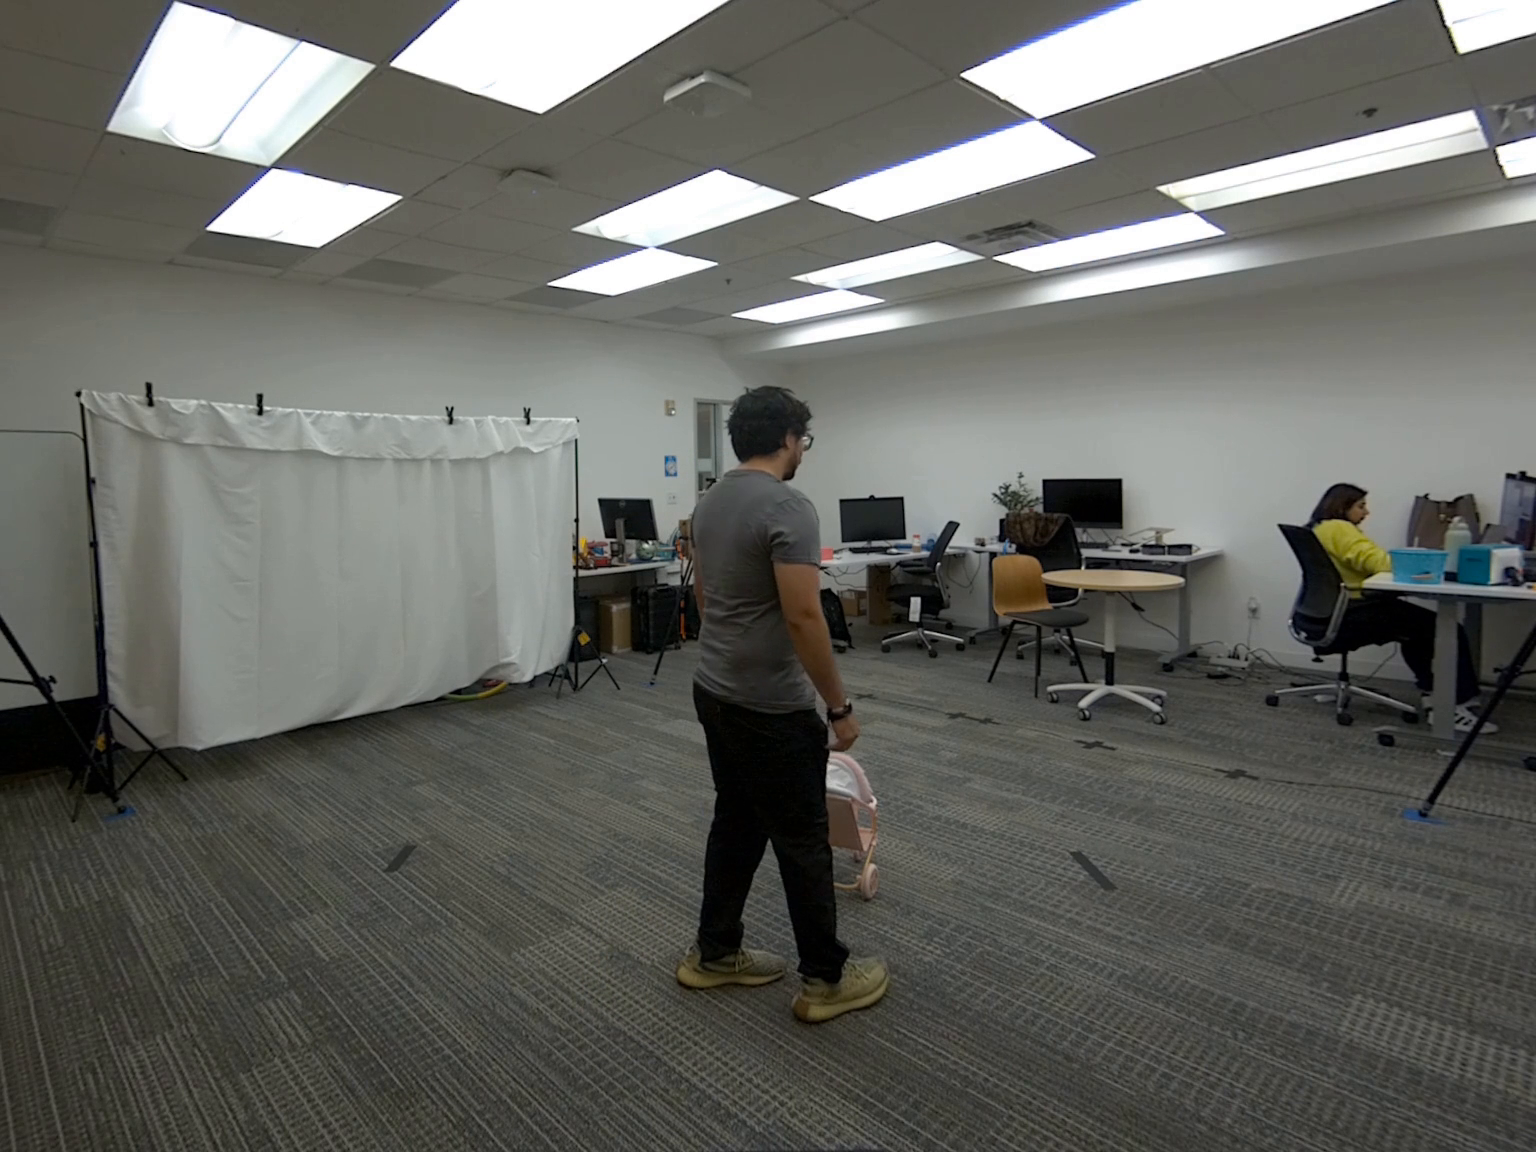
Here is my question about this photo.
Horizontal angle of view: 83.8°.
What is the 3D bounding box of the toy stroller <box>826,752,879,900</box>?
[{"bbox_3d":[0.259,0.838,2.930,0.289,0.525,0.339,3,23,30],"label":"toy stroller"}]
